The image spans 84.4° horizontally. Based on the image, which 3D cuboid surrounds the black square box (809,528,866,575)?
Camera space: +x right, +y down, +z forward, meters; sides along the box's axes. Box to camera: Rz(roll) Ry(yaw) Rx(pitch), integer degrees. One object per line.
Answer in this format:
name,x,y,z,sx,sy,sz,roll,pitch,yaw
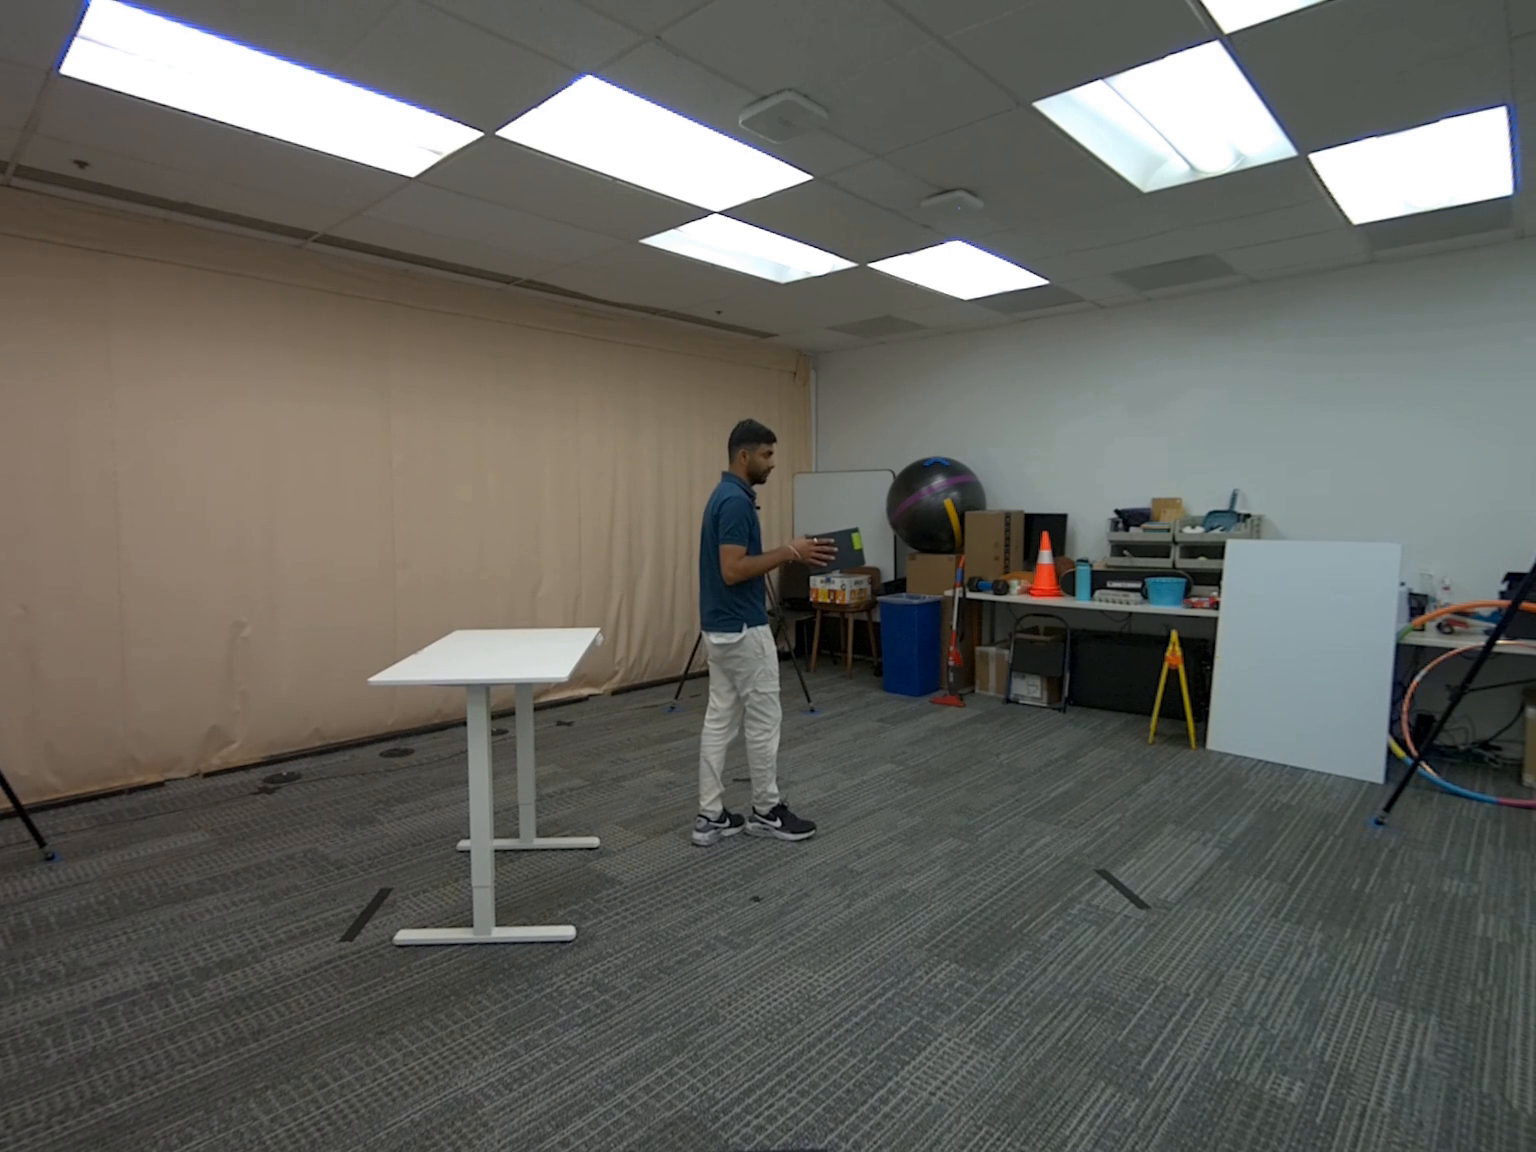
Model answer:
black square box,0.276,-0.114,3.465,0.218,0.156,0.226,-7,2,6
